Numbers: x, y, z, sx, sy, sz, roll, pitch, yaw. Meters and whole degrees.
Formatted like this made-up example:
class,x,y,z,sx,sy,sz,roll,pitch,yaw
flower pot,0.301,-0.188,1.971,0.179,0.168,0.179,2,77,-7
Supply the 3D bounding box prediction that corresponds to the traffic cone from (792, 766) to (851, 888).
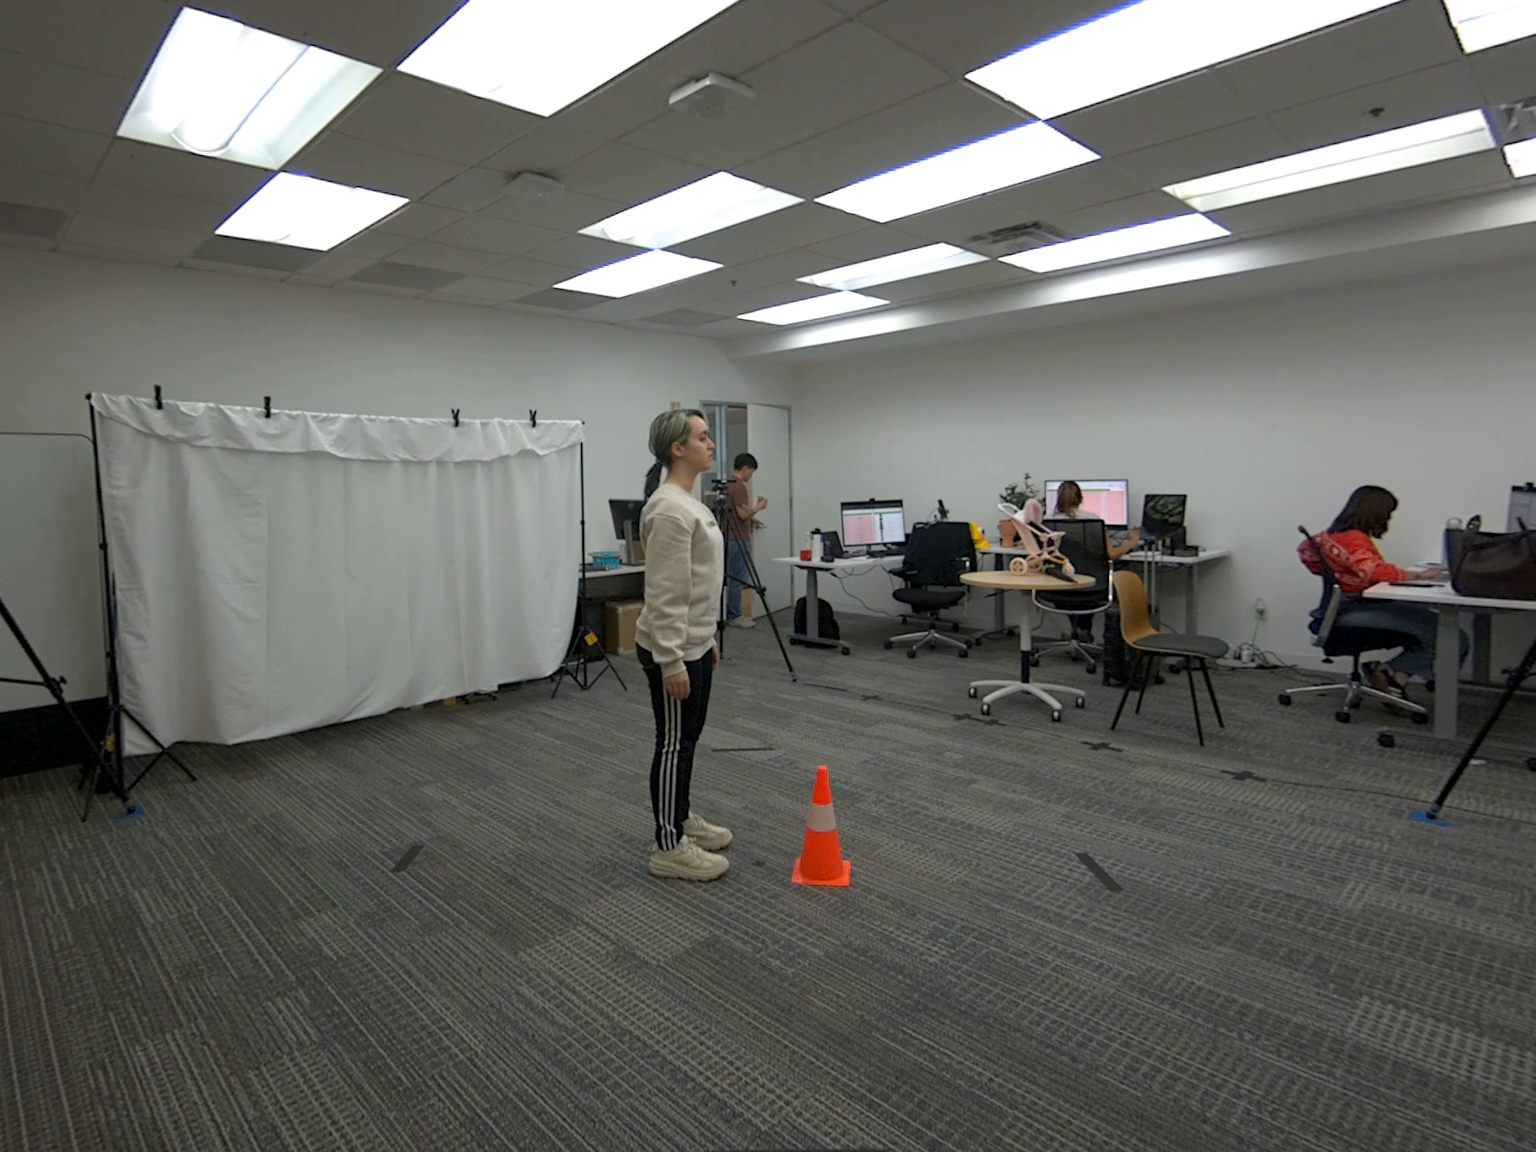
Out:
class,x,y,z,sx,sy,sz,roll,pitch,yaw
traffic cone,0.193,0.866,3.019,0.206,0.382,0.203,1,5,11
